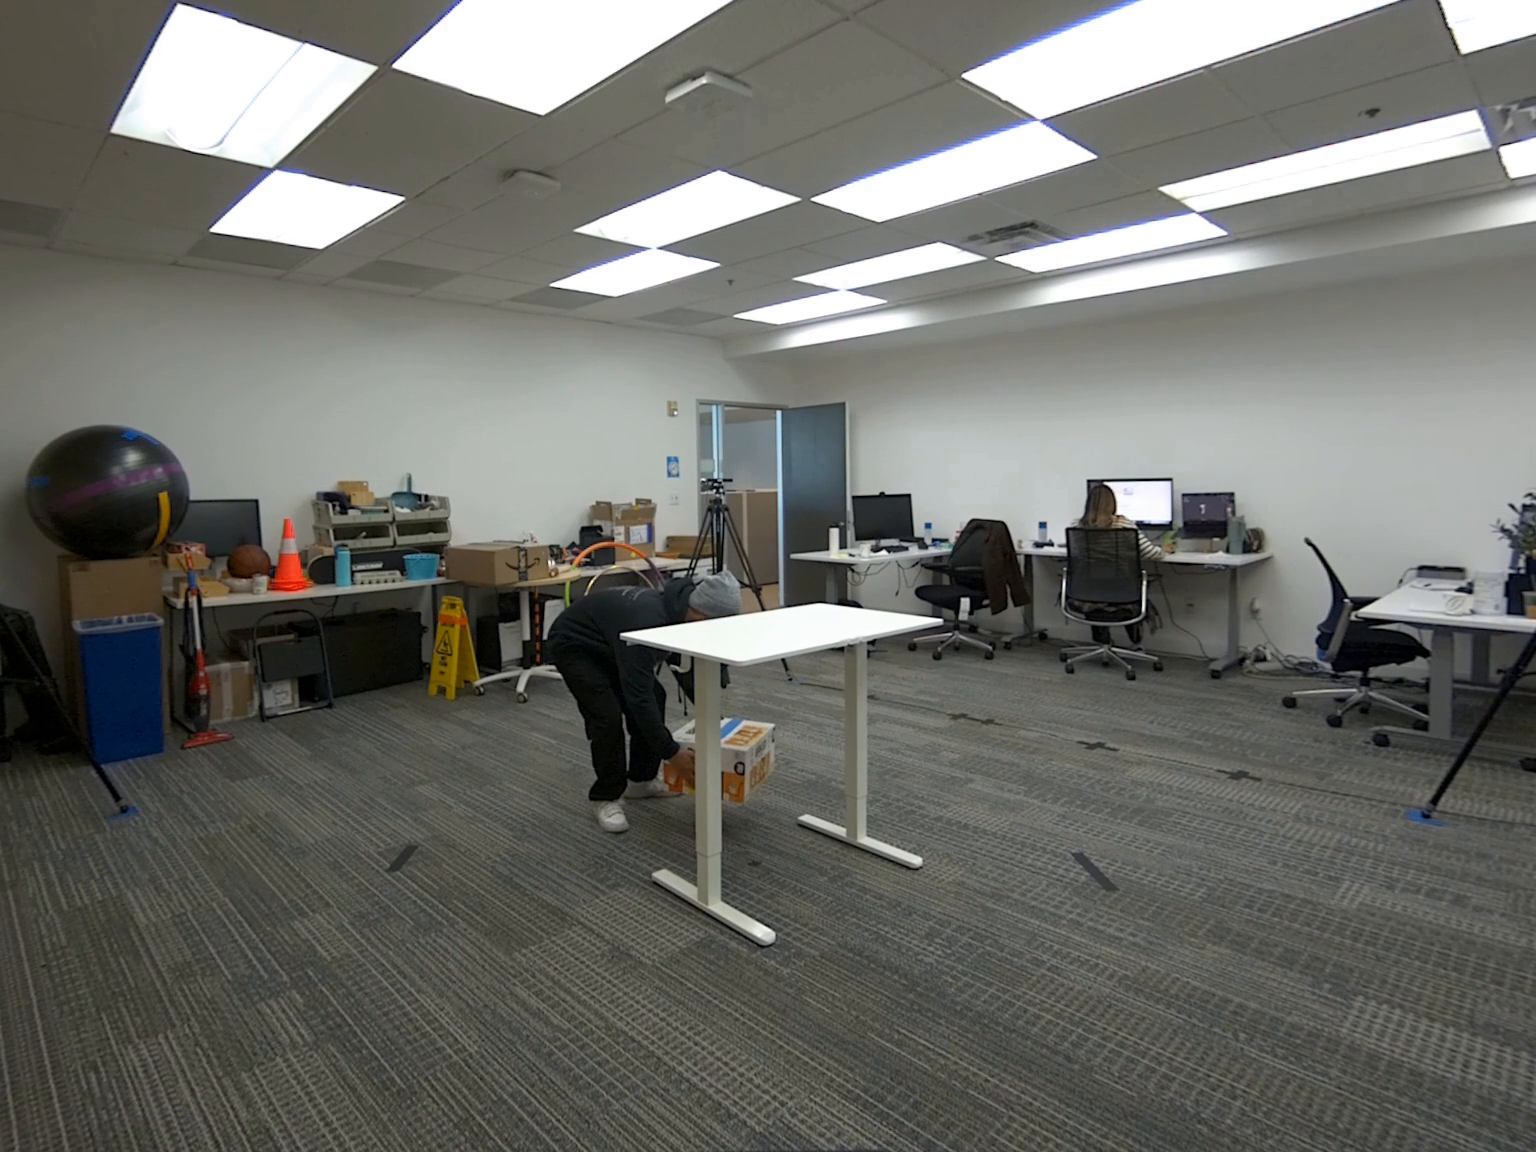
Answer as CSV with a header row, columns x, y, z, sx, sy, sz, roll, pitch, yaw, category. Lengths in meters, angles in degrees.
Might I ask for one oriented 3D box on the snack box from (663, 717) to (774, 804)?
x,y,z,sx,sy,sz,roll,pitch,yaw,category
-0.191,0.729,3.466,0.347,0.205,0.399,4,6,17,snack box
